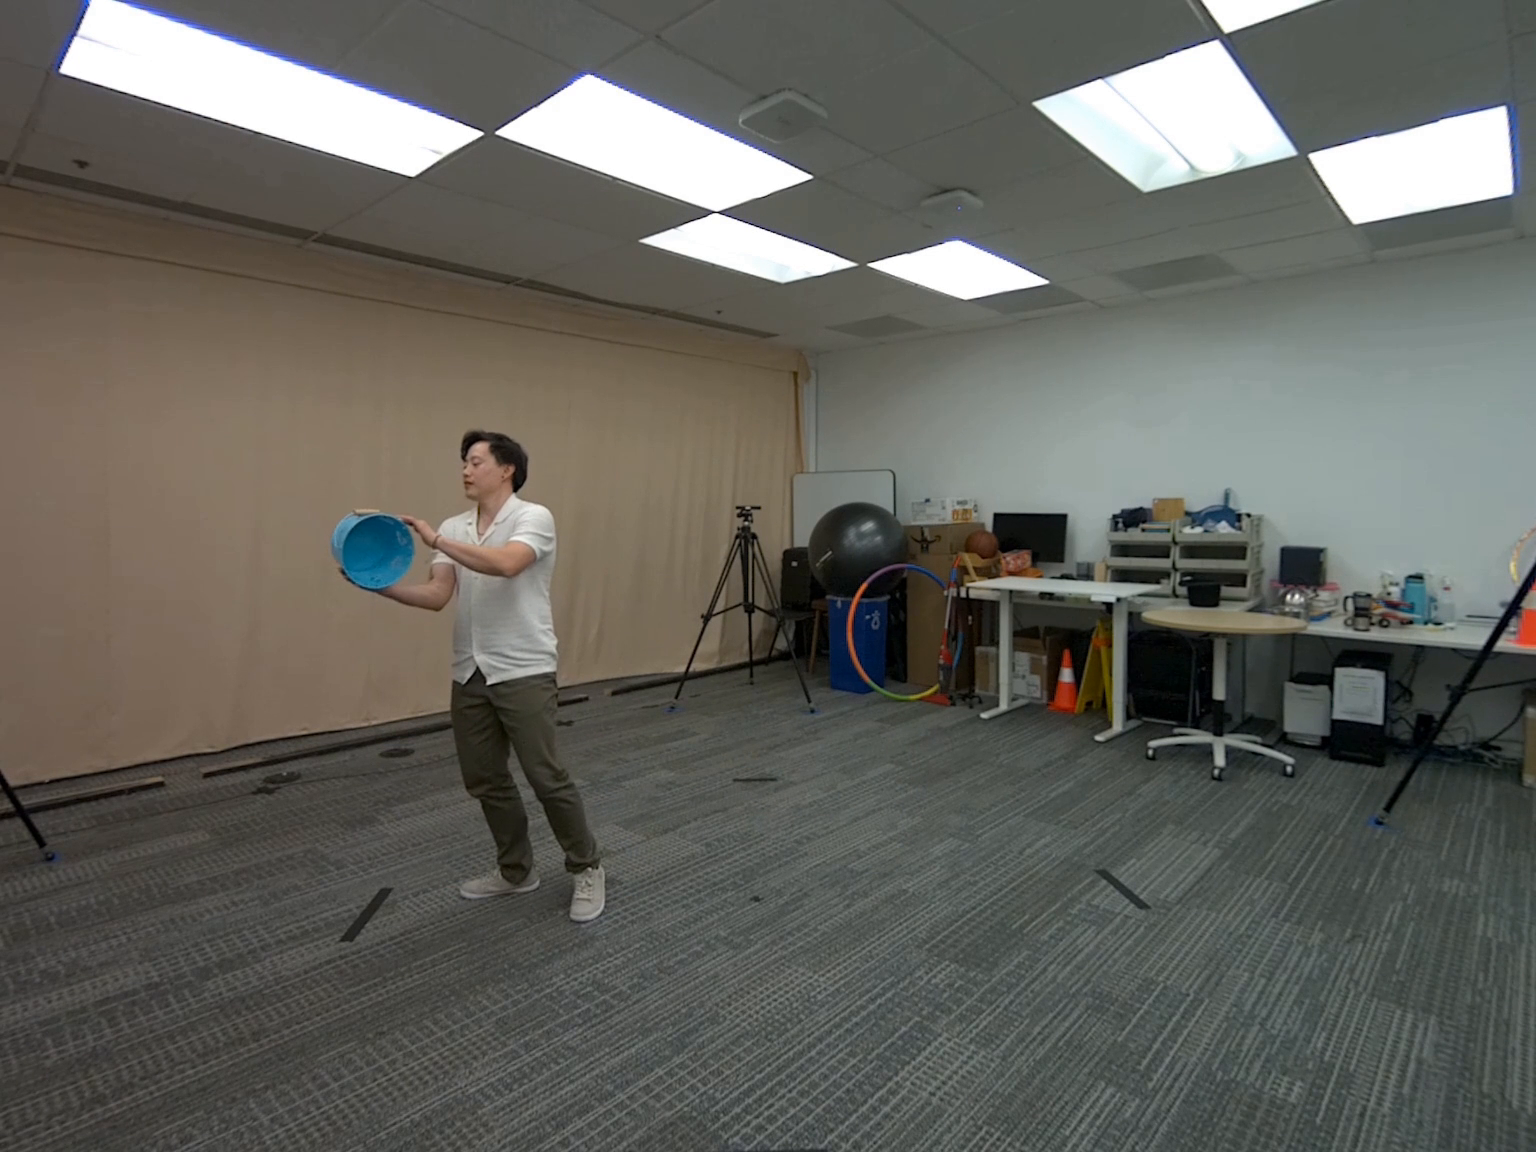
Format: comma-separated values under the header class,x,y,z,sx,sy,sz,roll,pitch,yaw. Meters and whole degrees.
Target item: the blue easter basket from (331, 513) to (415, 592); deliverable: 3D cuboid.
class,x,y,z,sx,sy,sz,roll,pitch,yaw
blue easter basket,-1.248,-0.088,2.670,0.161,0.242,0.236,14,13,43
